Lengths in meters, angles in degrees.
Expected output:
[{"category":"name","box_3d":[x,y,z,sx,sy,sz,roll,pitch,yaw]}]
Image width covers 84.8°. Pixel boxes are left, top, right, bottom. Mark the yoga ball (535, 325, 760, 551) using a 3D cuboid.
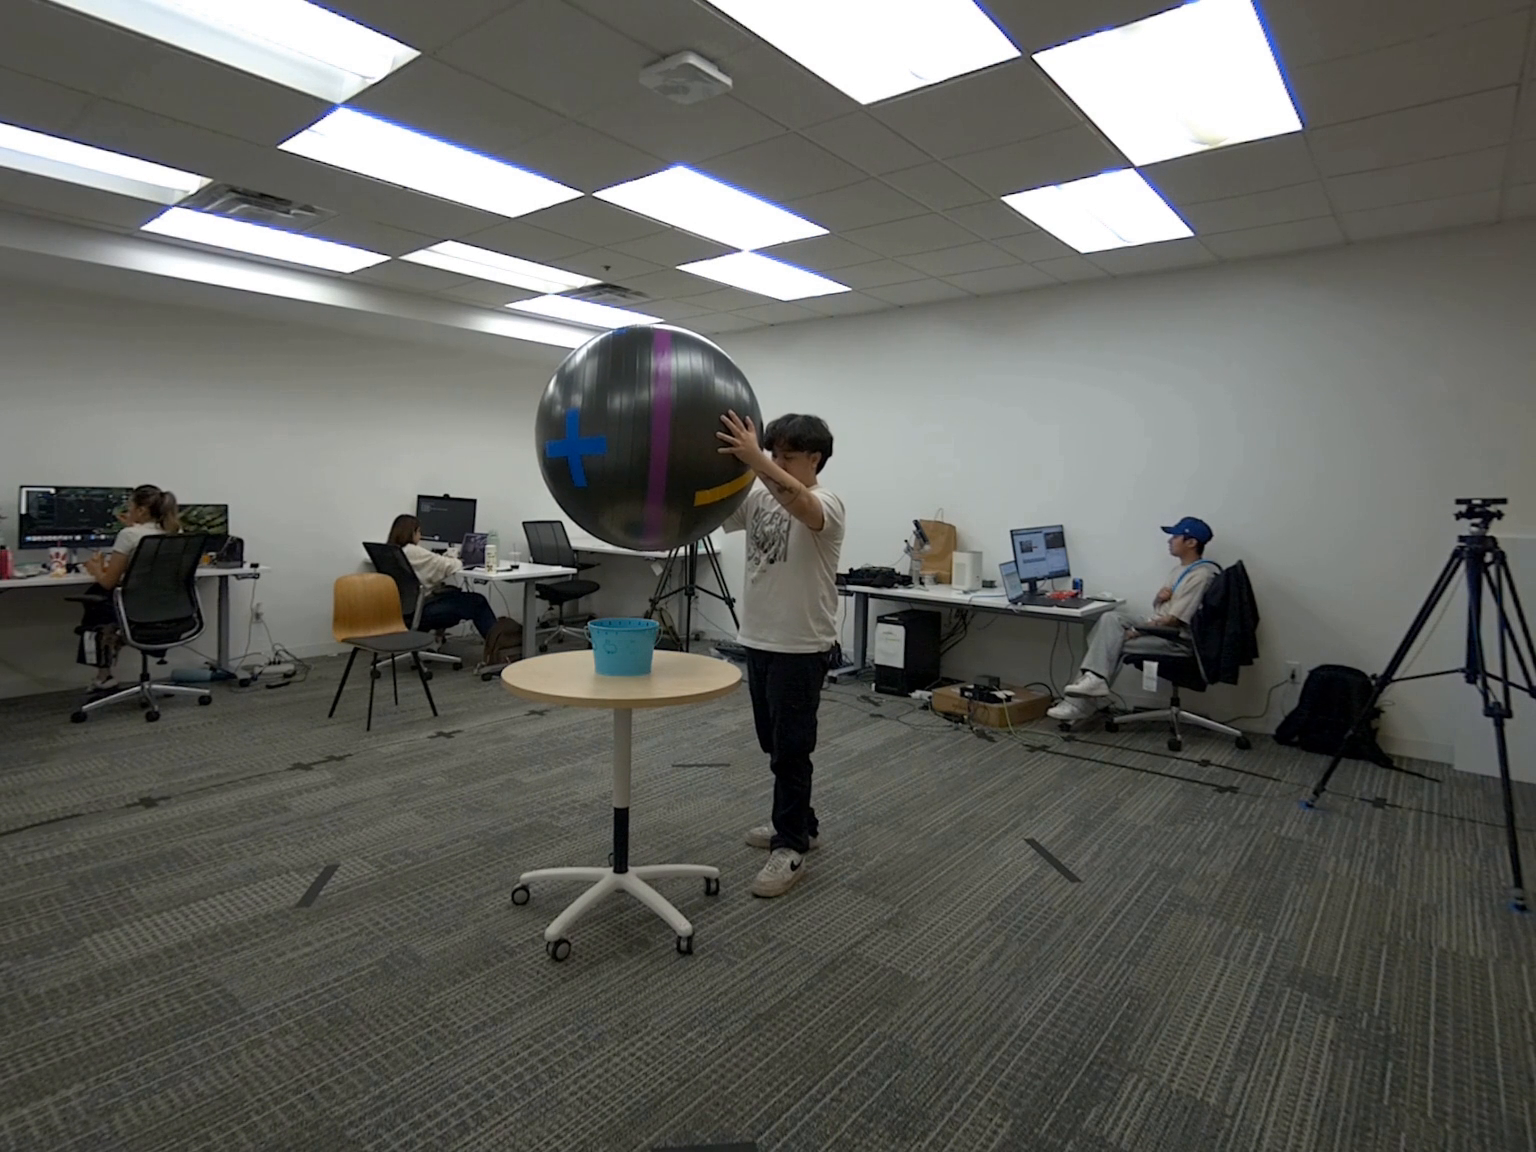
[{"category":"yoga ball","box_3d":[-0.408,-0.459,2.860,0.757,0.756,0.761,1,4,-2]}]
